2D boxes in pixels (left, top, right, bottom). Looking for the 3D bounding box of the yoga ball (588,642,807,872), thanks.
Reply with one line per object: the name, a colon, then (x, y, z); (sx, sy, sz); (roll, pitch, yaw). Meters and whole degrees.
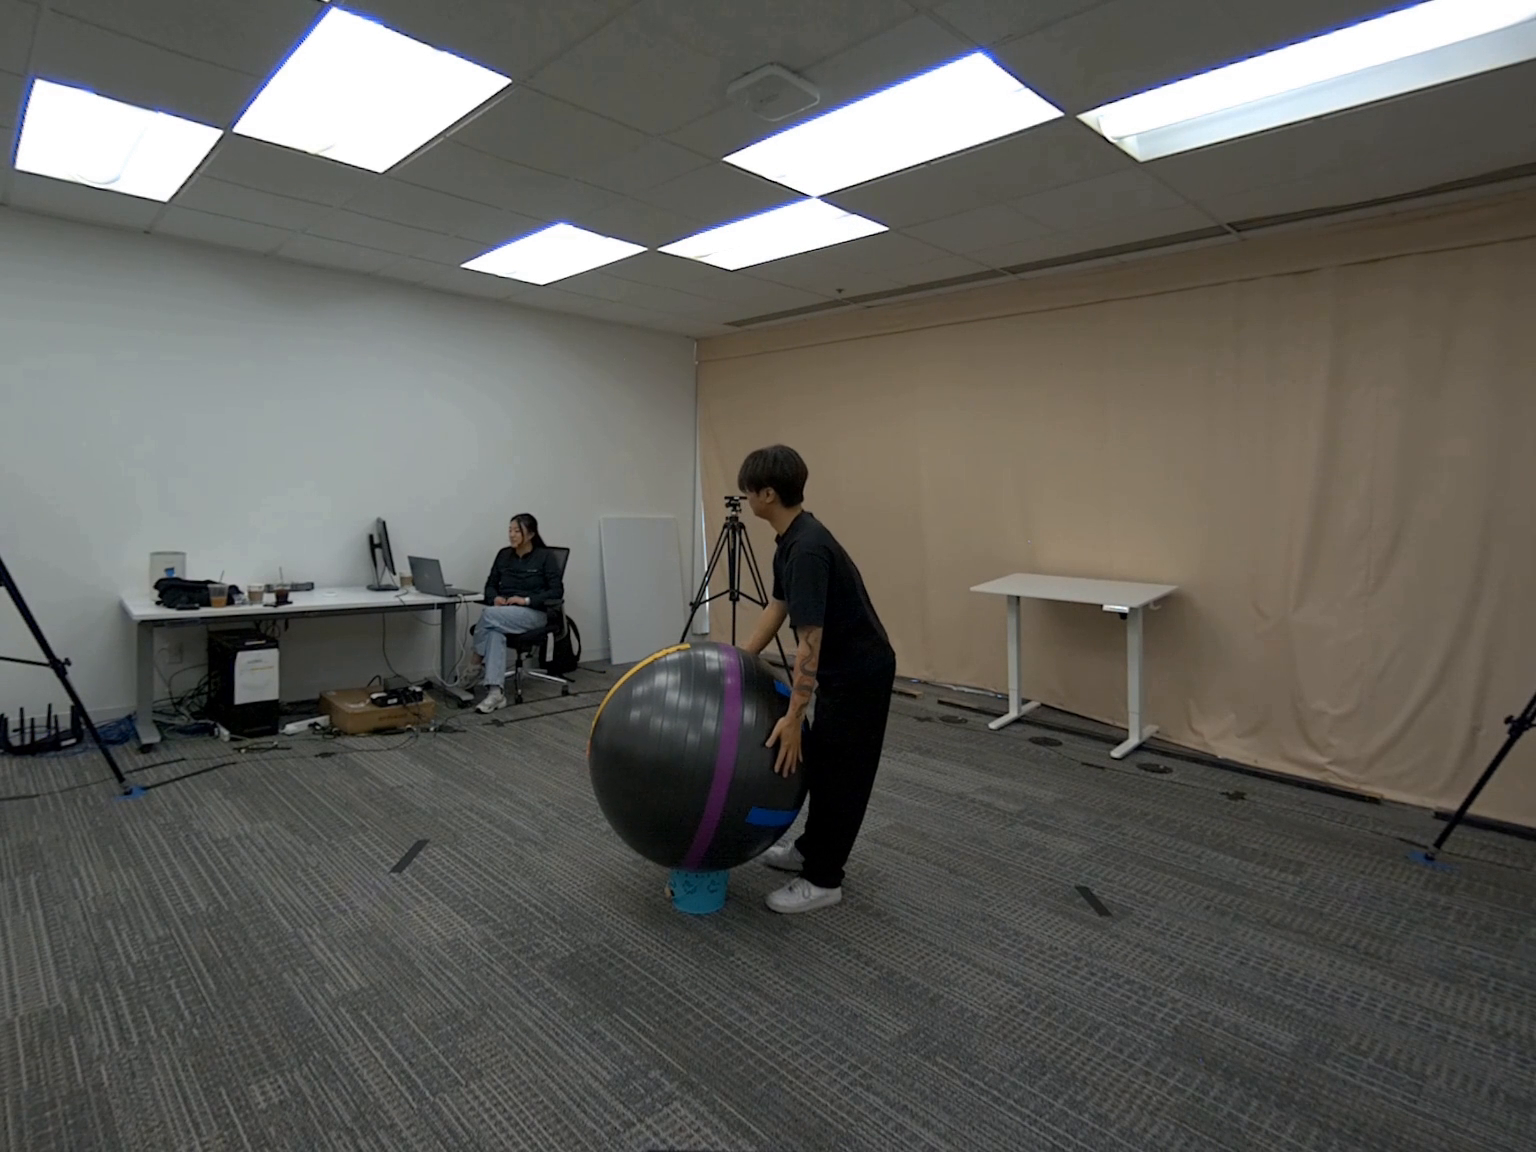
yoga ball: (-0.234, 0.611, 2.873); (0.757, 0.756, 0.761); (1, 4, -1)
